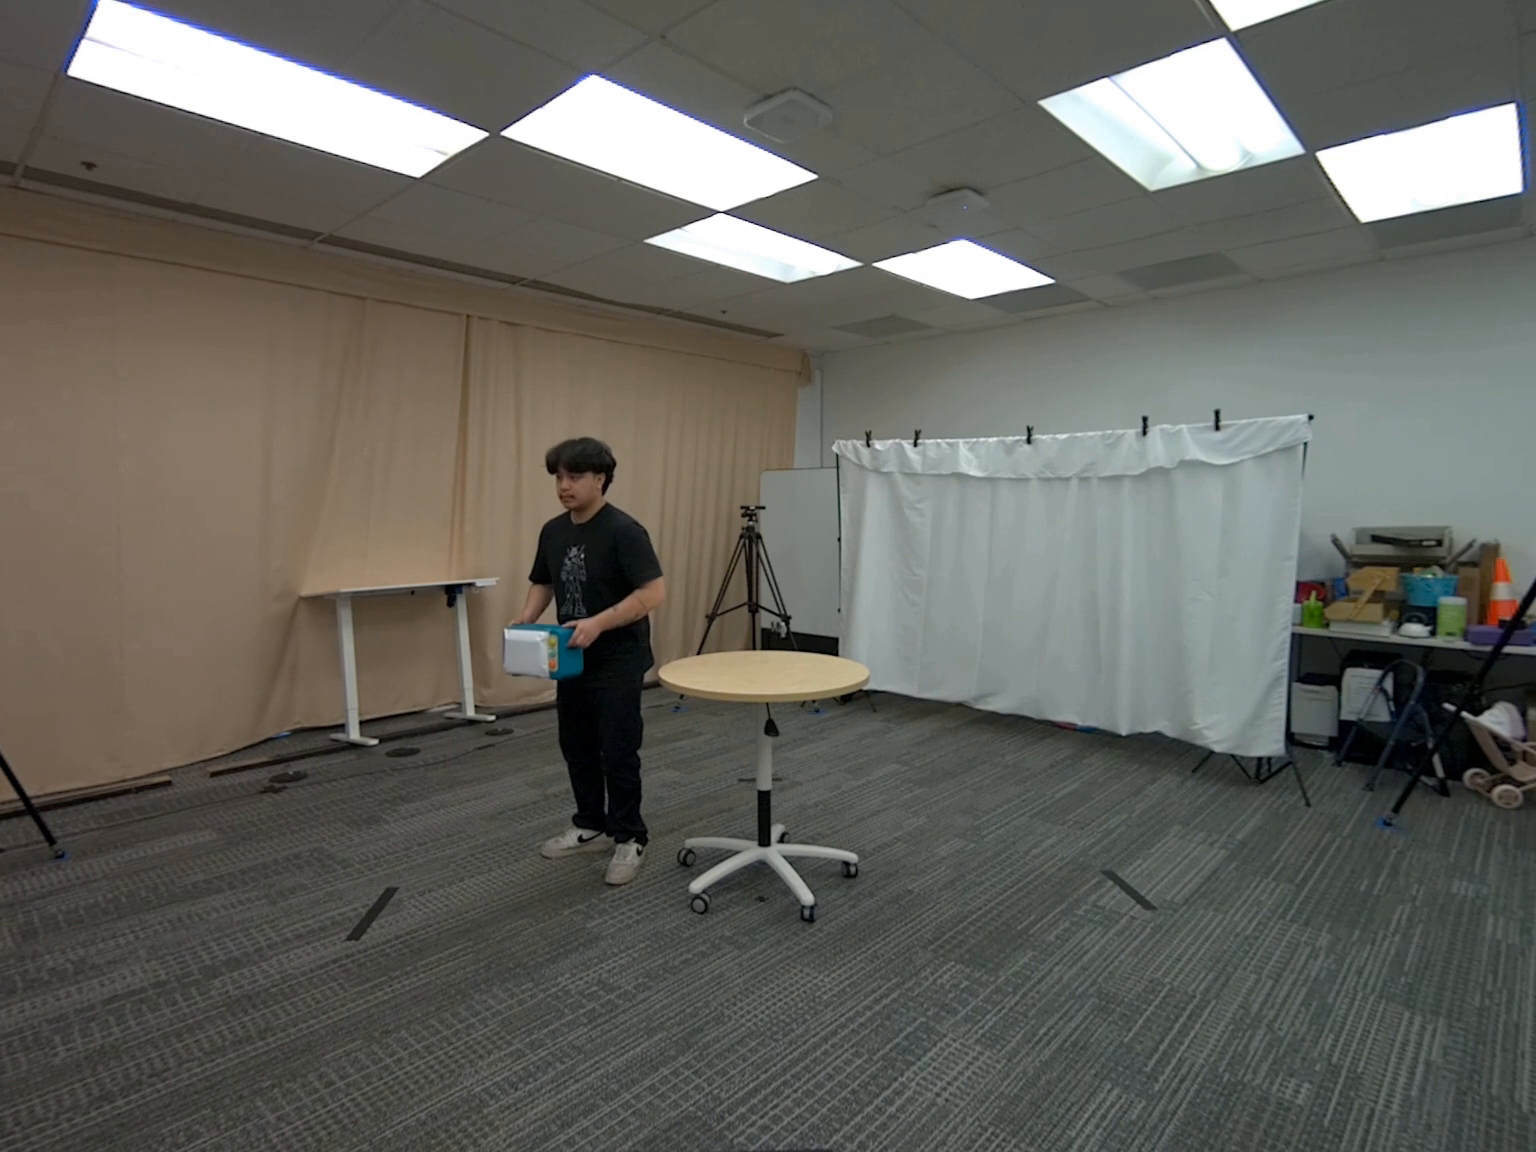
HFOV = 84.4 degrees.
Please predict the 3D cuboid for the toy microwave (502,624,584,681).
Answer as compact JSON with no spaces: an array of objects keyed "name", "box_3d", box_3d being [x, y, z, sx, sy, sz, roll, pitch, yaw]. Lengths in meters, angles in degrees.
[{"name":"toy microwave","box_3d":[-0.813,0.280,3.050,0.294,0.184,0.148,2,1,31]}]
